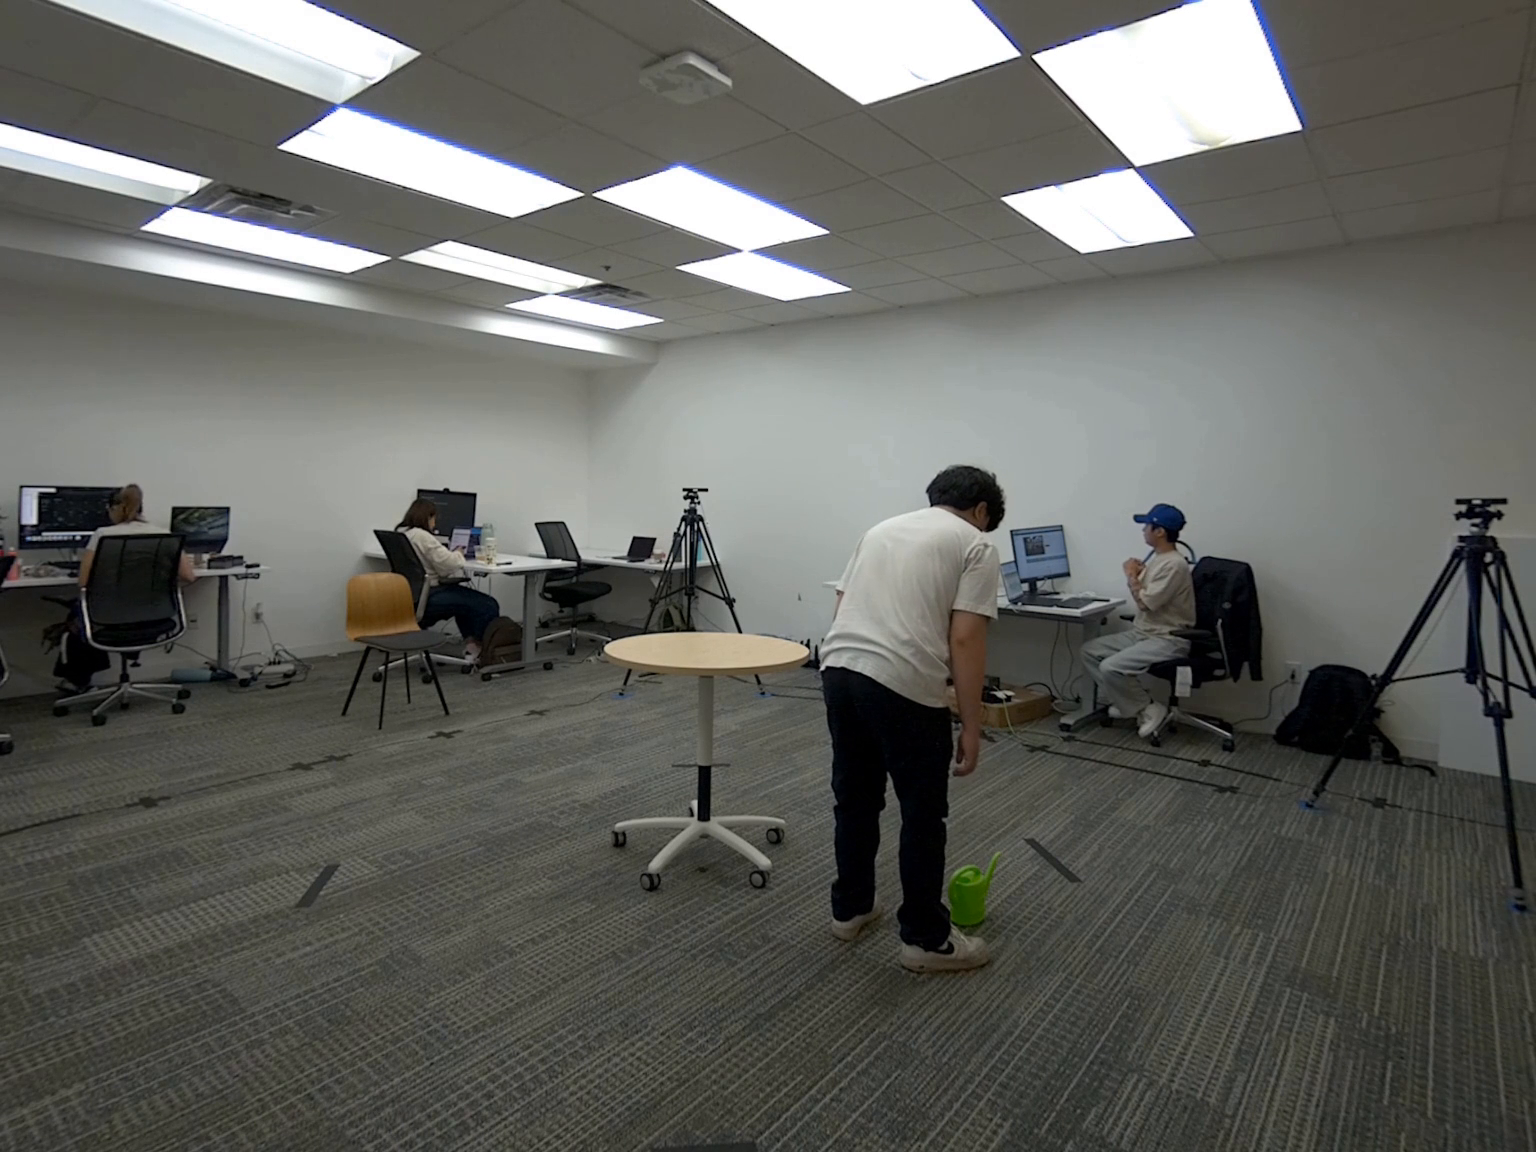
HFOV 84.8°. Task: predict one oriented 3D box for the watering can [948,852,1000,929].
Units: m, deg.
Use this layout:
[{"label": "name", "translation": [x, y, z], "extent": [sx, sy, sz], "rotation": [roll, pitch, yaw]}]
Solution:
[{"label": "watering can", "translation": [0.694, 1.033, 2.807], "extent": [0.272, 0.176, 0.100], "rotation": [-2, 6, -23]}]
